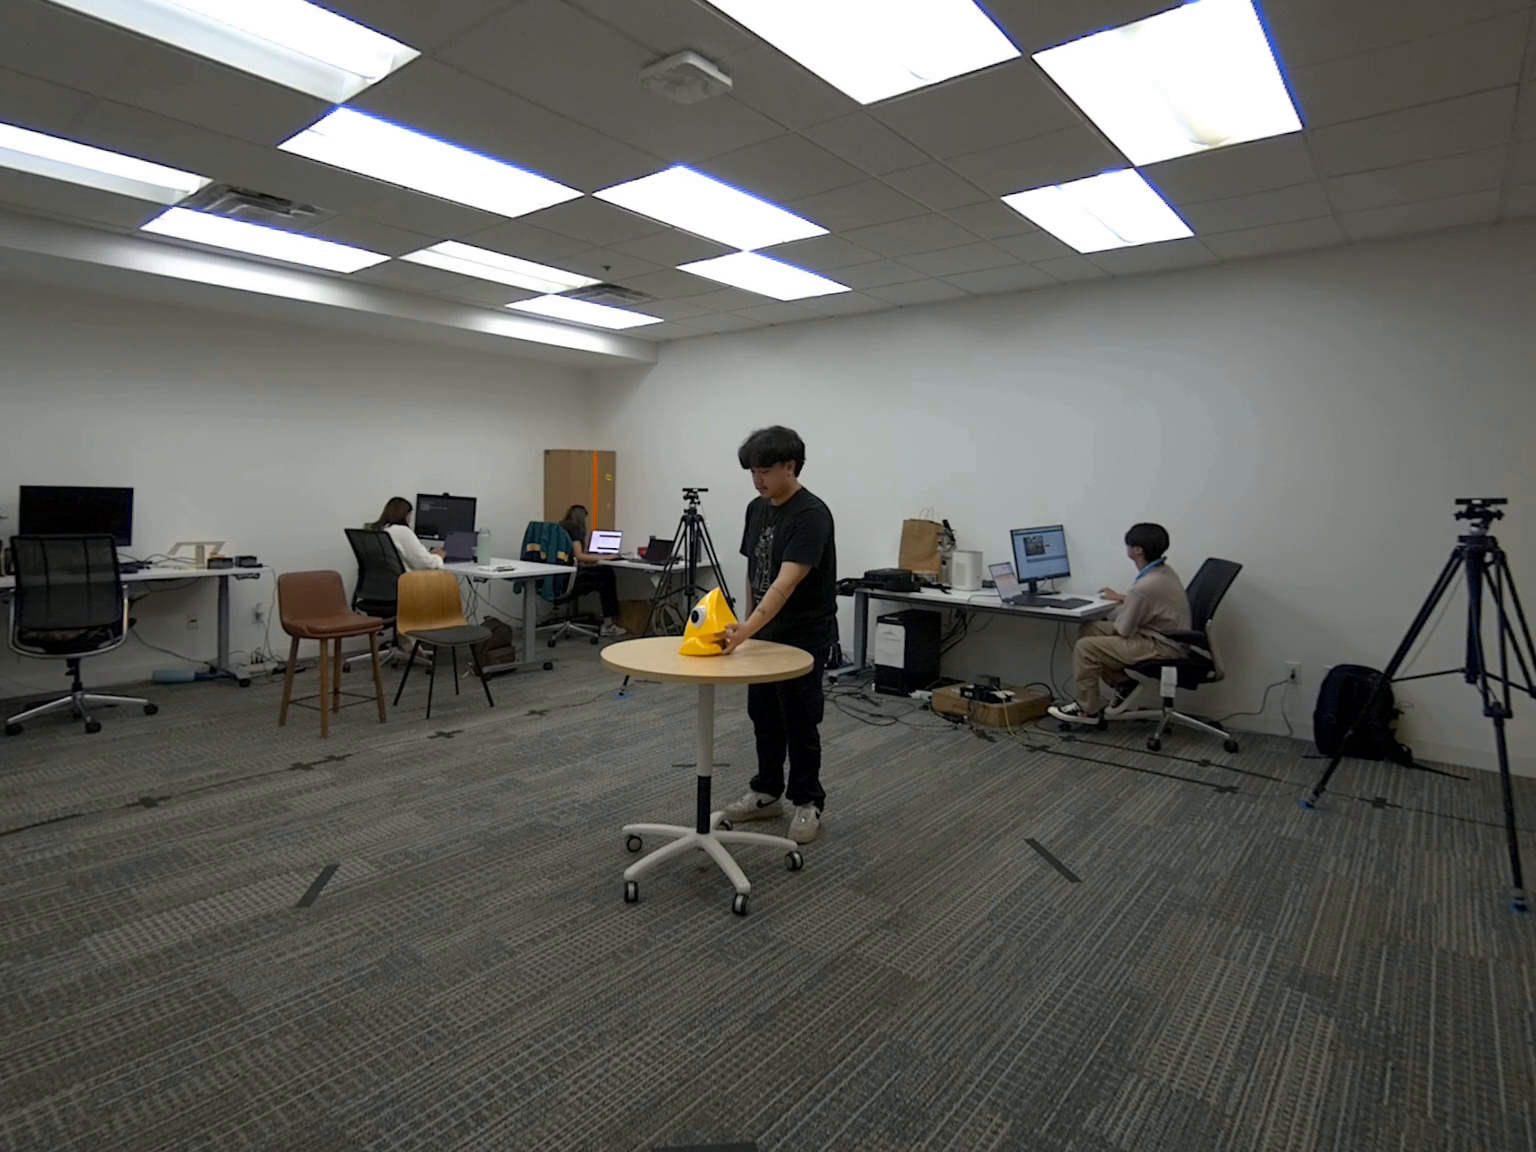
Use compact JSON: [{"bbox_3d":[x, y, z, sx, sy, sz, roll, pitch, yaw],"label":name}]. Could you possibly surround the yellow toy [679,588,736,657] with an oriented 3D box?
[{"bbox_3d":[-0.237,0.156,3.103,0.197,0.230,0.201,-3,2,21],"label":"yellow toy"}]
